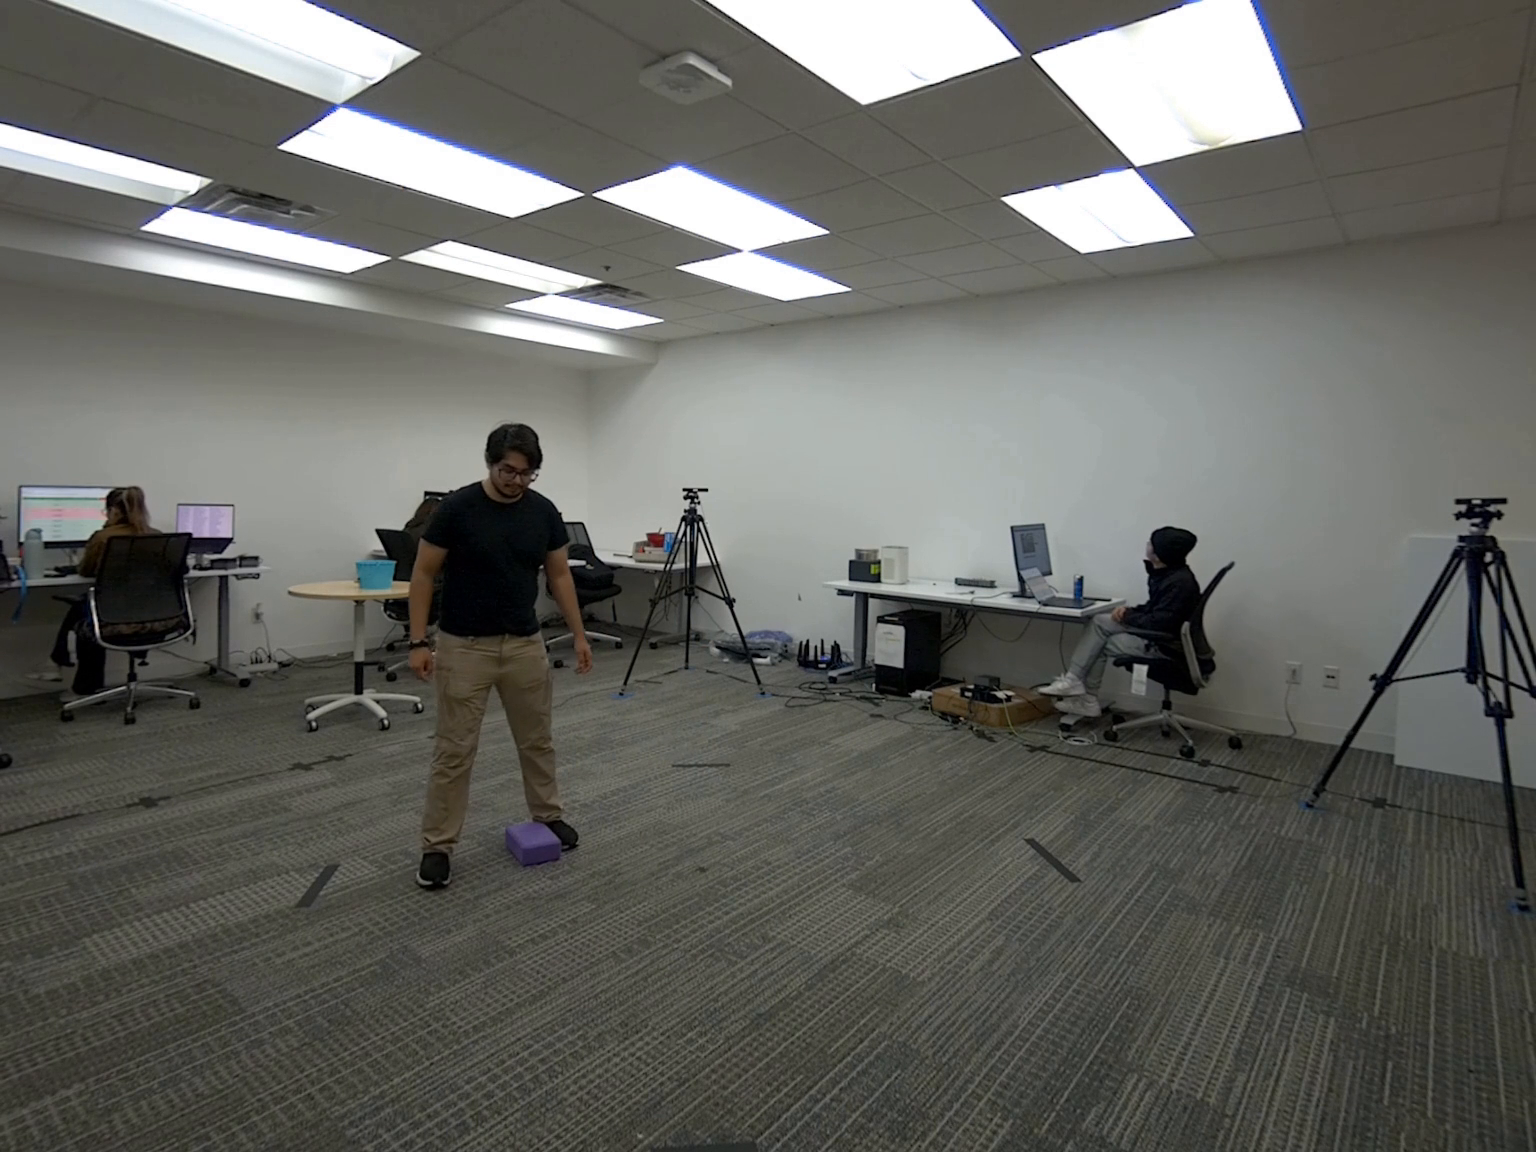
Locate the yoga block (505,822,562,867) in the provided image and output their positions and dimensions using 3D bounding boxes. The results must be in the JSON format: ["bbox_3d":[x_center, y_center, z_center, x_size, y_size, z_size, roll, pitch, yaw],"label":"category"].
[{"bbox_3d":[-0.907,1.005,3.214,0.145,0.076,0.237,-1,5,-33],"label":"yoga block"}]
